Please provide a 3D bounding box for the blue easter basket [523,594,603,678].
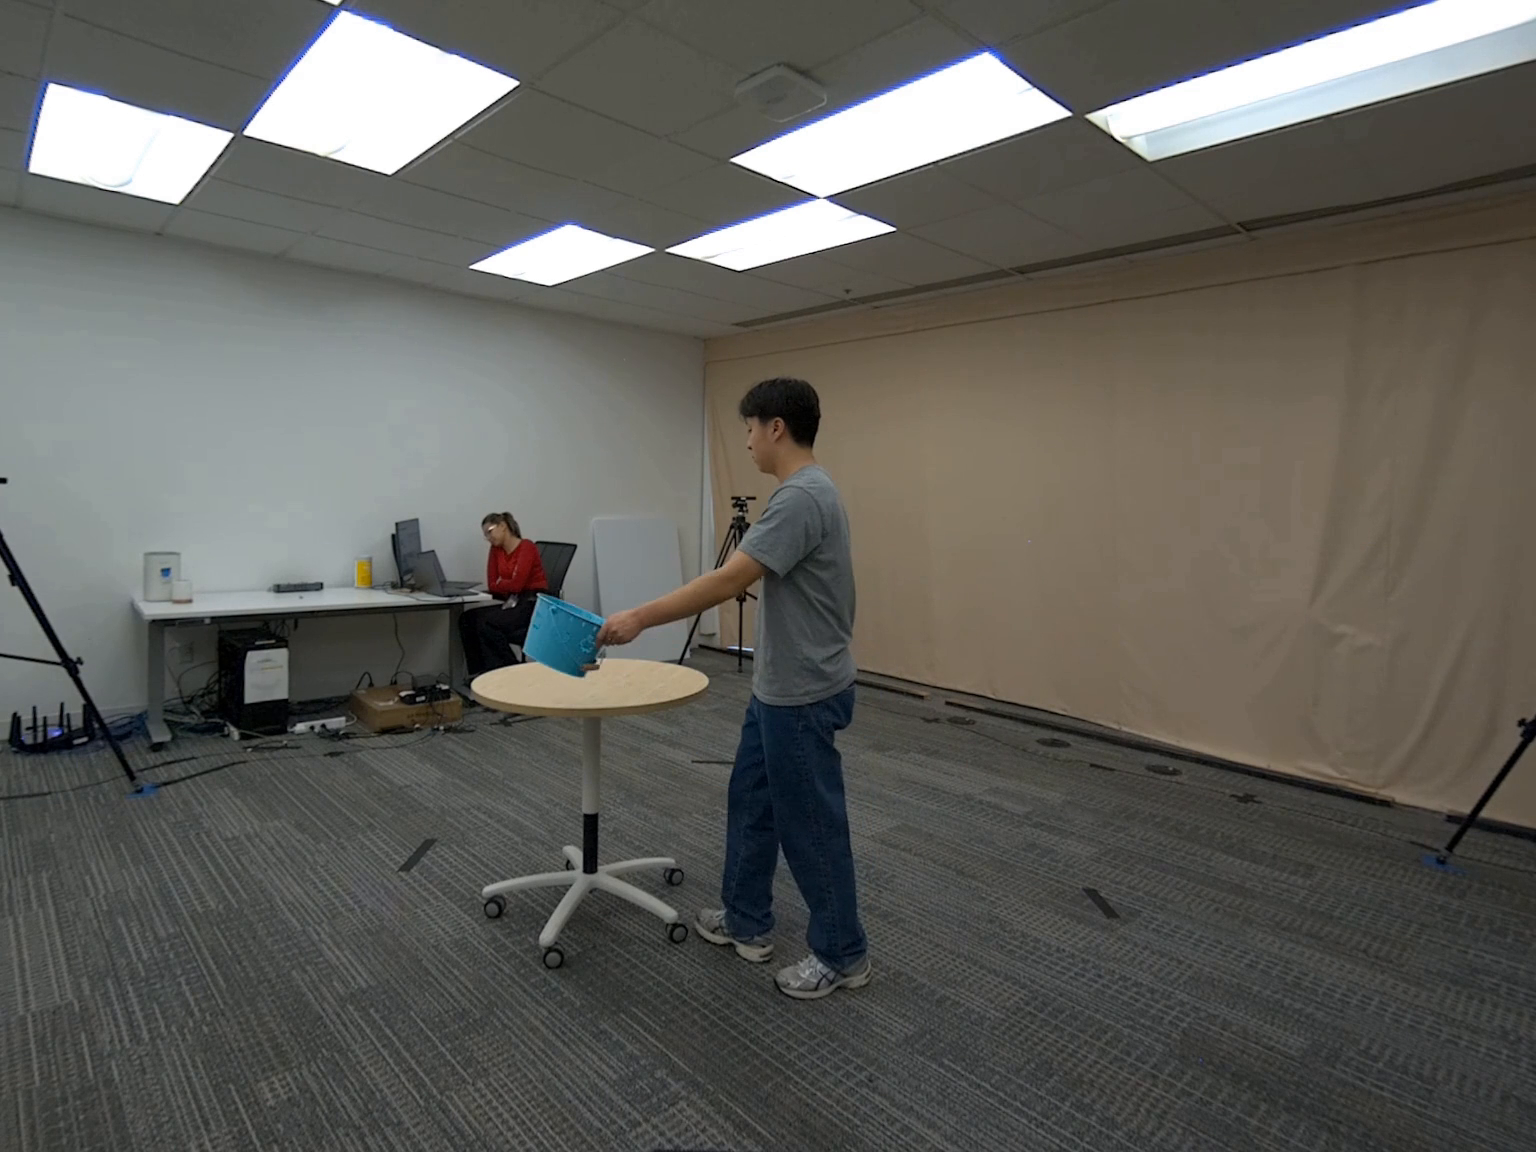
[{"bbox_3d":[-0.522,0.176,2.222,0.244,0.156,0.243,24,-2,-1],"label":"blue easter basket"}]
